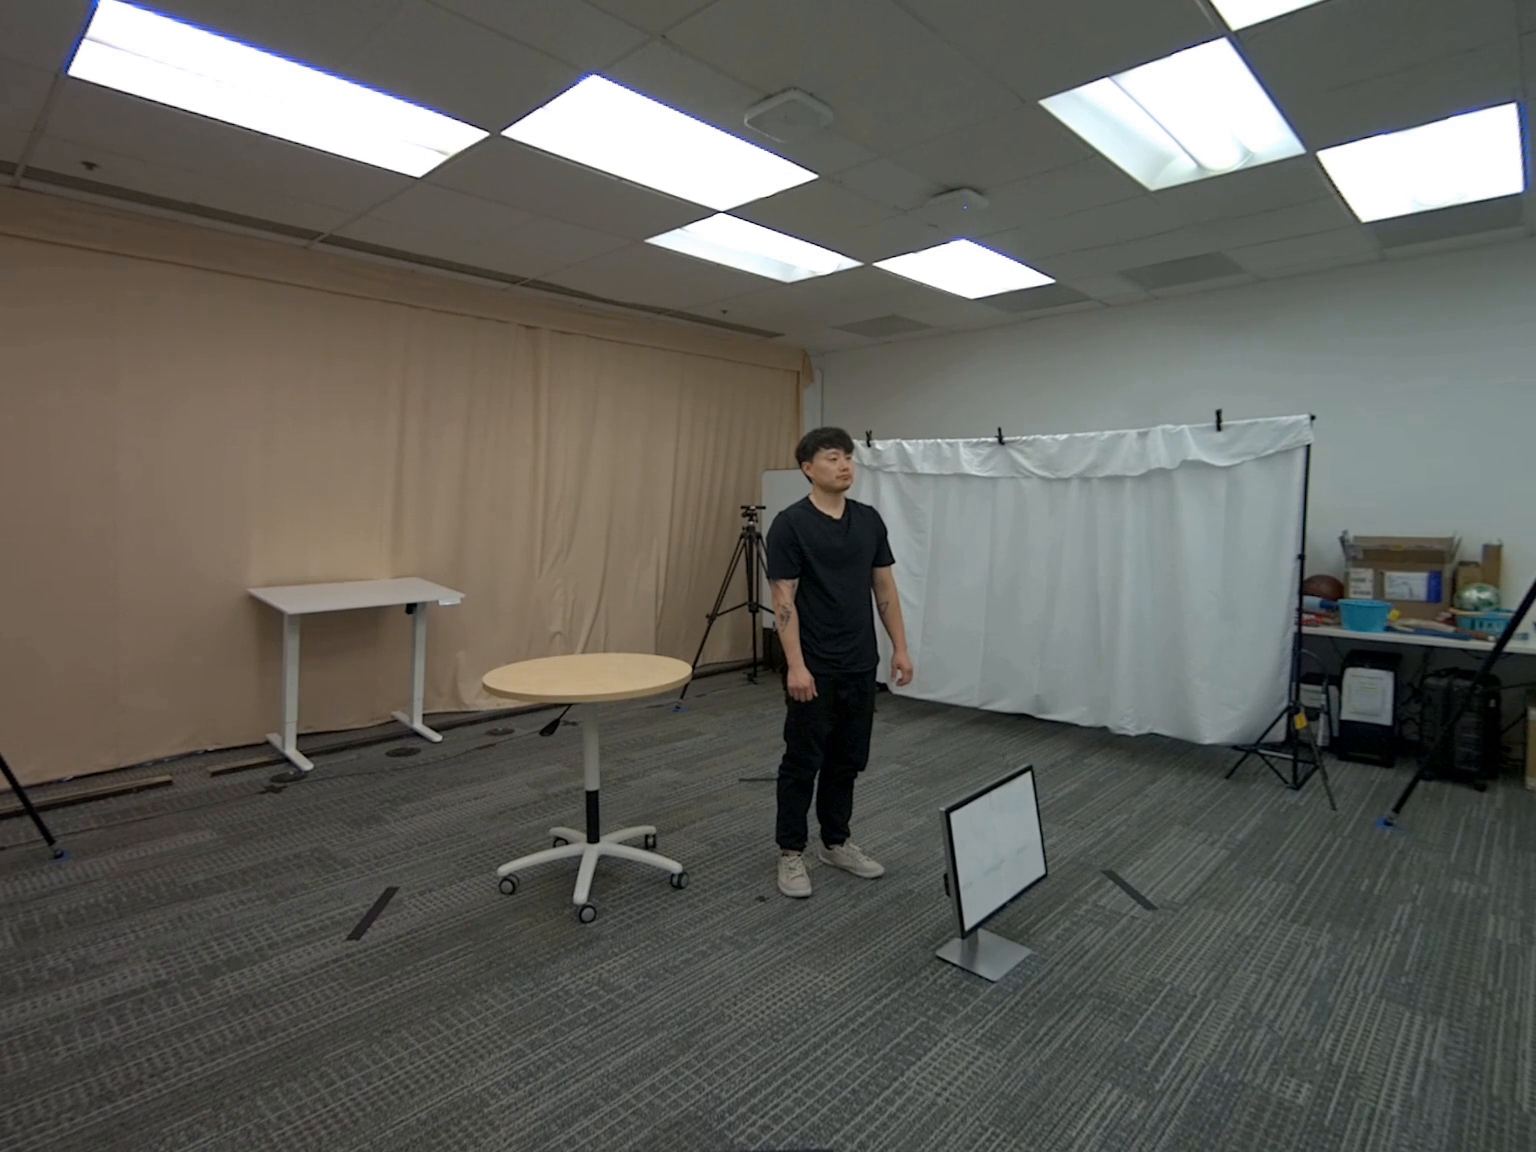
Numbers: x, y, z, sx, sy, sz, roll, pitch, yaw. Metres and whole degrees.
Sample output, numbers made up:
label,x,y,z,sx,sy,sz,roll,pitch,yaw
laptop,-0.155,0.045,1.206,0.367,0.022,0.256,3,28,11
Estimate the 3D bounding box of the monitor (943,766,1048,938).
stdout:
label,x,y,z,sx,sy,sz,roll,pitch,yaw
monitor,0.683,0.913,2.588,0.193,0.521,0.523,7,8,40
